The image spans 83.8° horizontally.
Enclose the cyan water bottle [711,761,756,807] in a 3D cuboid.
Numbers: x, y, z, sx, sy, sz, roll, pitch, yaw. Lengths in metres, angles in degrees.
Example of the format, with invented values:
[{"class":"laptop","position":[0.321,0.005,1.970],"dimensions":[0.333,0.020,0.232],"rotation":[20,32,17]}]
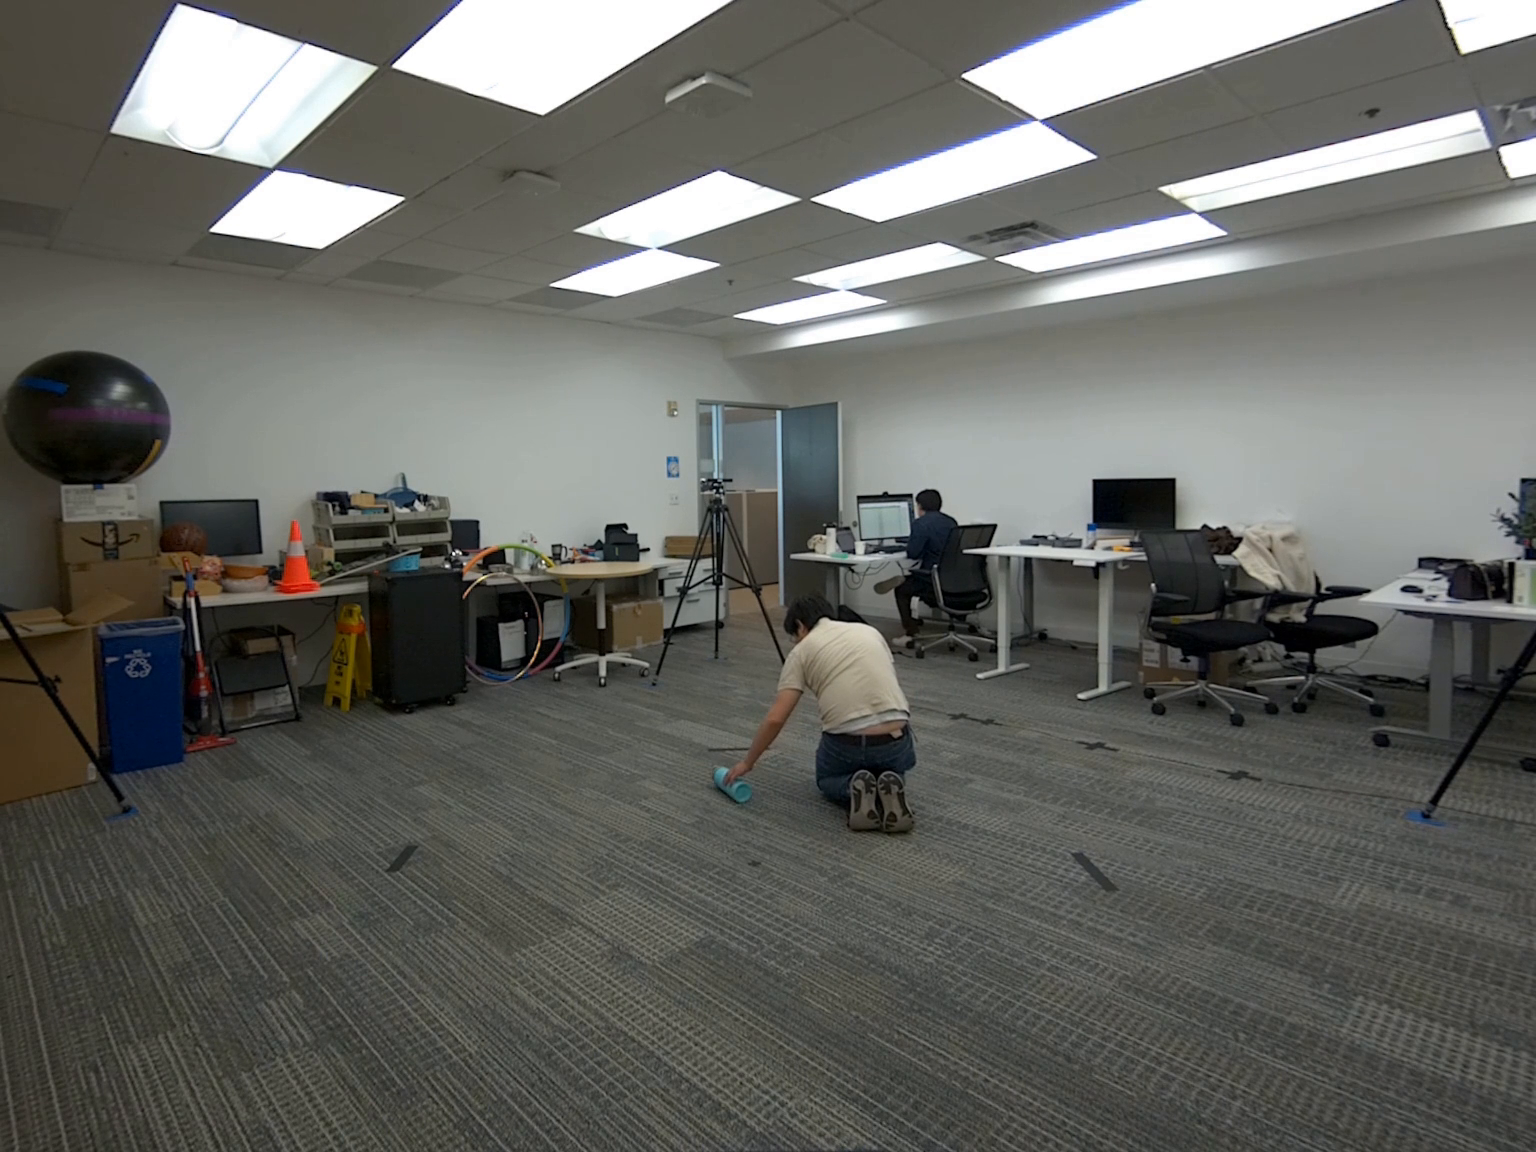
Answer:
[{"class":"cyan water bottle","position":[-0.159,0.923,3.823],"dimensions":[0.090,0.092,0.290],"rotation":[-3,7,-24]}]
